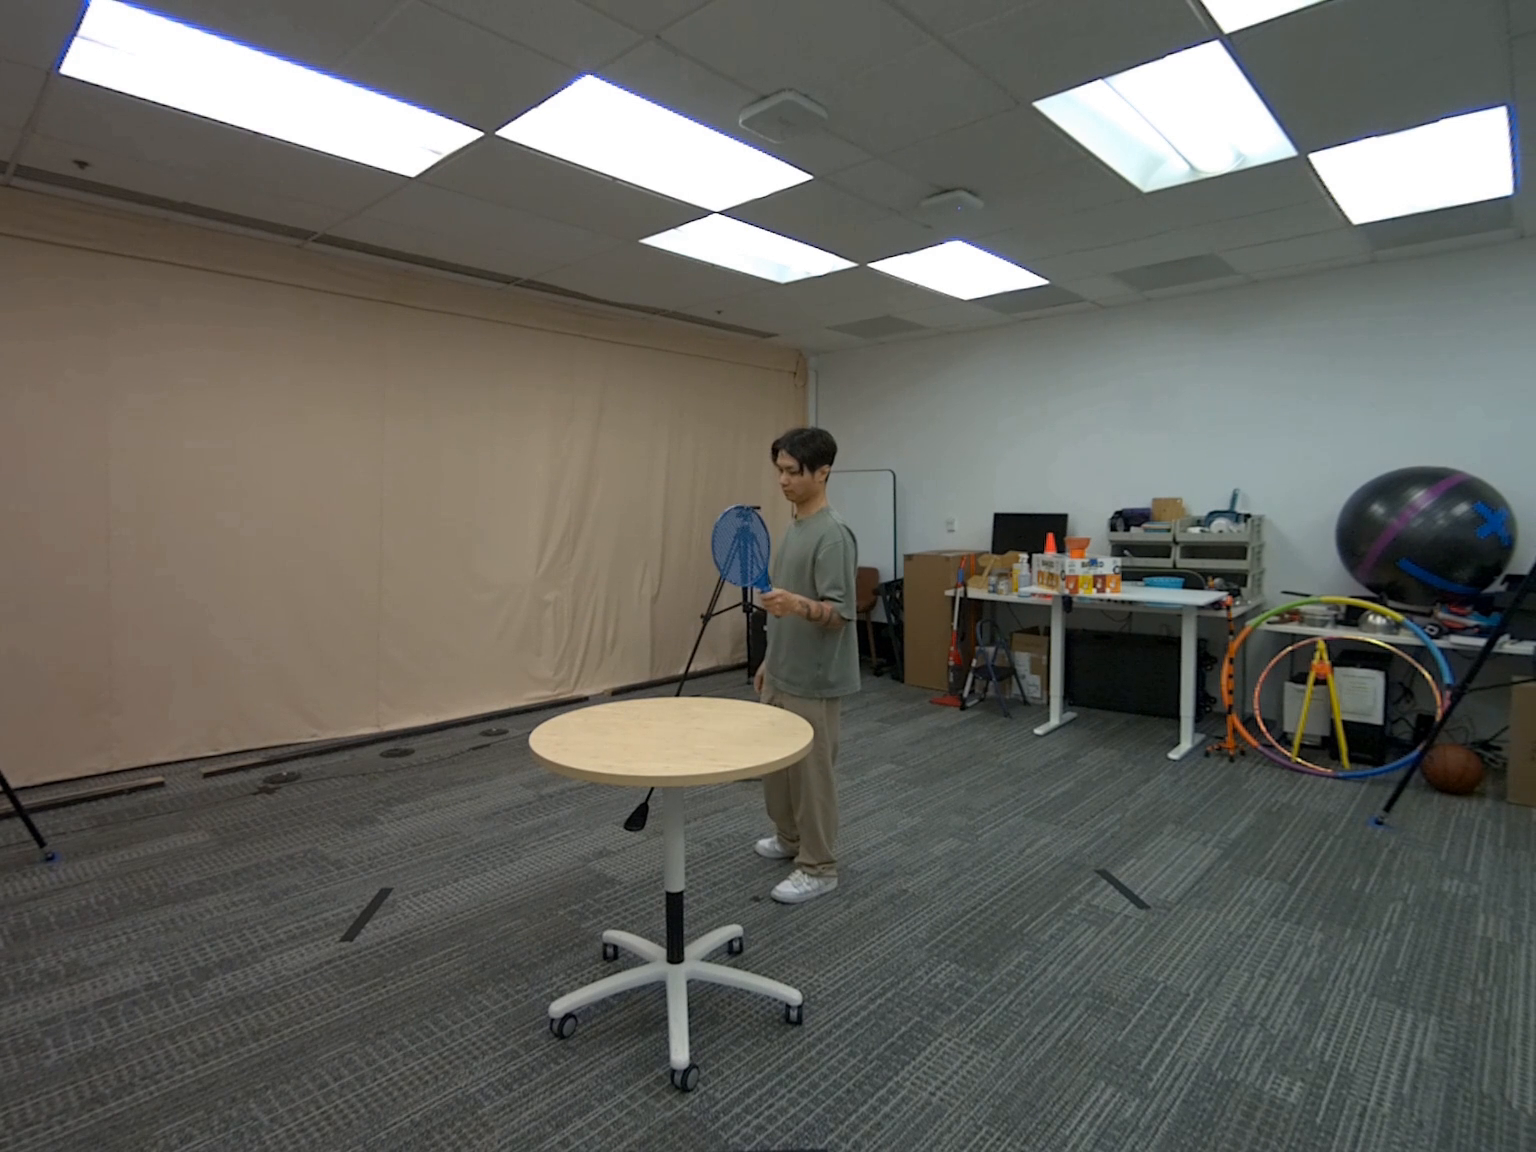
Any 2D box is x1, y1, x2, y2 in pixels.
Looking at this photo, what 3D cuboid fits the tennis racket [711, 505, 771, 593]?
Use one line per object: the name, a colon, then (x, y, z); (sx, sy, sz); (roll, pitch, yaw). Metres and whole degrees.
tennis racket: (-0.031, -0.035, 2.517); (0.033, 0.420, 0.212); (15, 54, 44)
